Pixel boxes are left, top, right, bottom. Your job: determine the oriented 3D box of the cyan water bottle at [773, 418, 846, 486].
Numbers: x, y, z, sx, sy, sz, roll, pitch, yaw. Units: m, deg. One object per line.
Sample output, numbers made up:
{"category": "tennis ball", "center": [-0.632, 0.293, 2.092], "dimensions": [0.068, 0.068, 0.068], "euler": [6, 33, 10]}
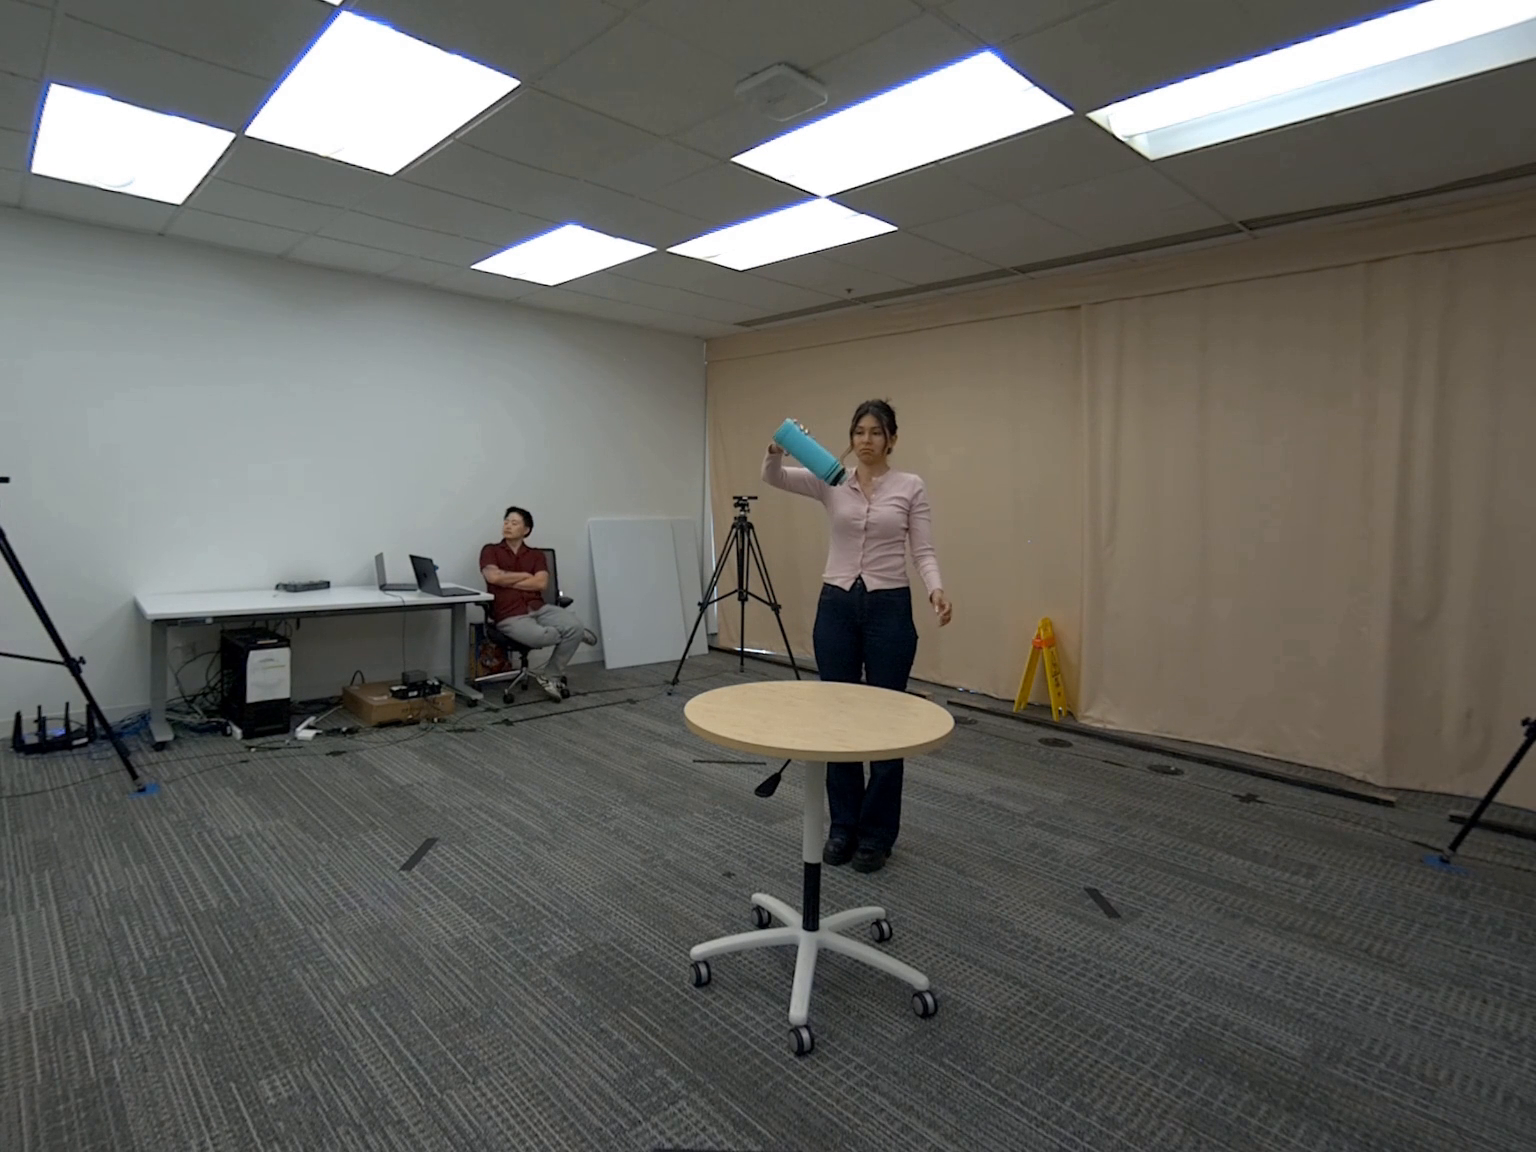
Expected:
{"category": "cyan water bottle", "center": [0.137, -0.402, 2.842], "dimensions": [0.284, 0.092, 0.092], "euler": [37, 5, 1]}
